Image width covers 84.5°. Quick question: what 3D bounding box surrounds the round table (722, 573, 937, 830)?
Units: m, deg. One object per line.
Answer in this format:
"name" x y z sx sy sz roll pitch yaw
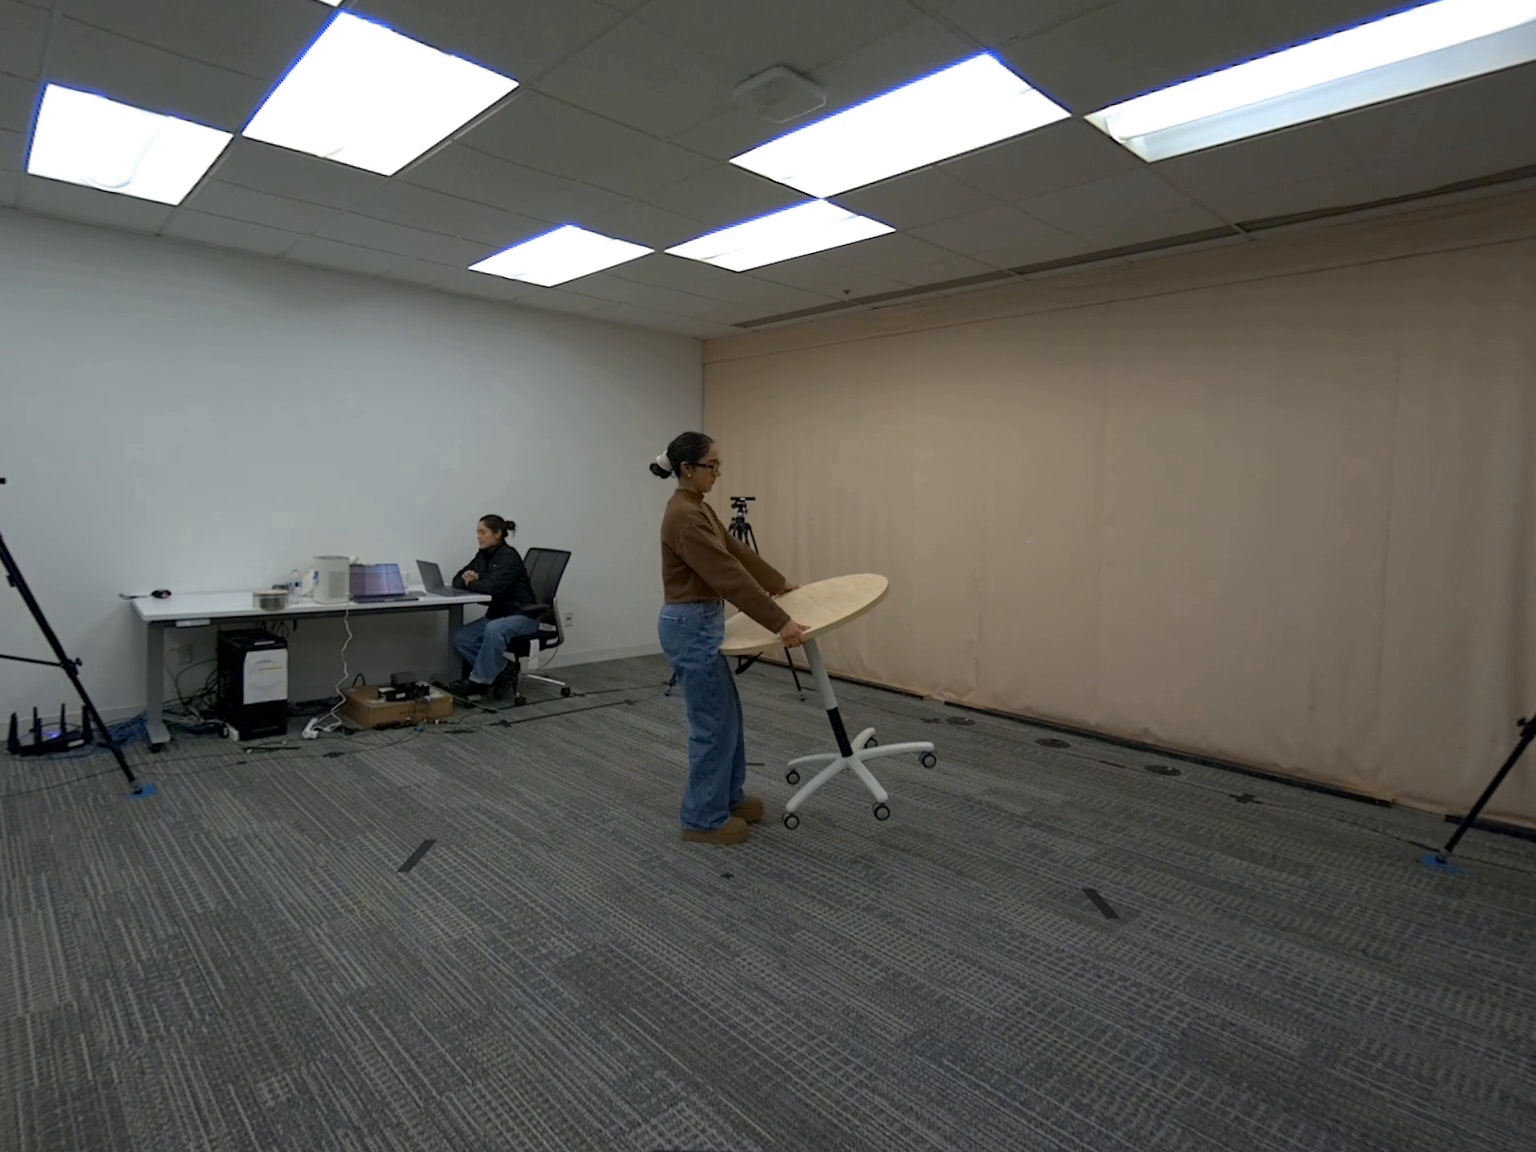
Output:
"round table" 0.251 0.504 3.497 0.786 0.780 0.791 -19 10 2
